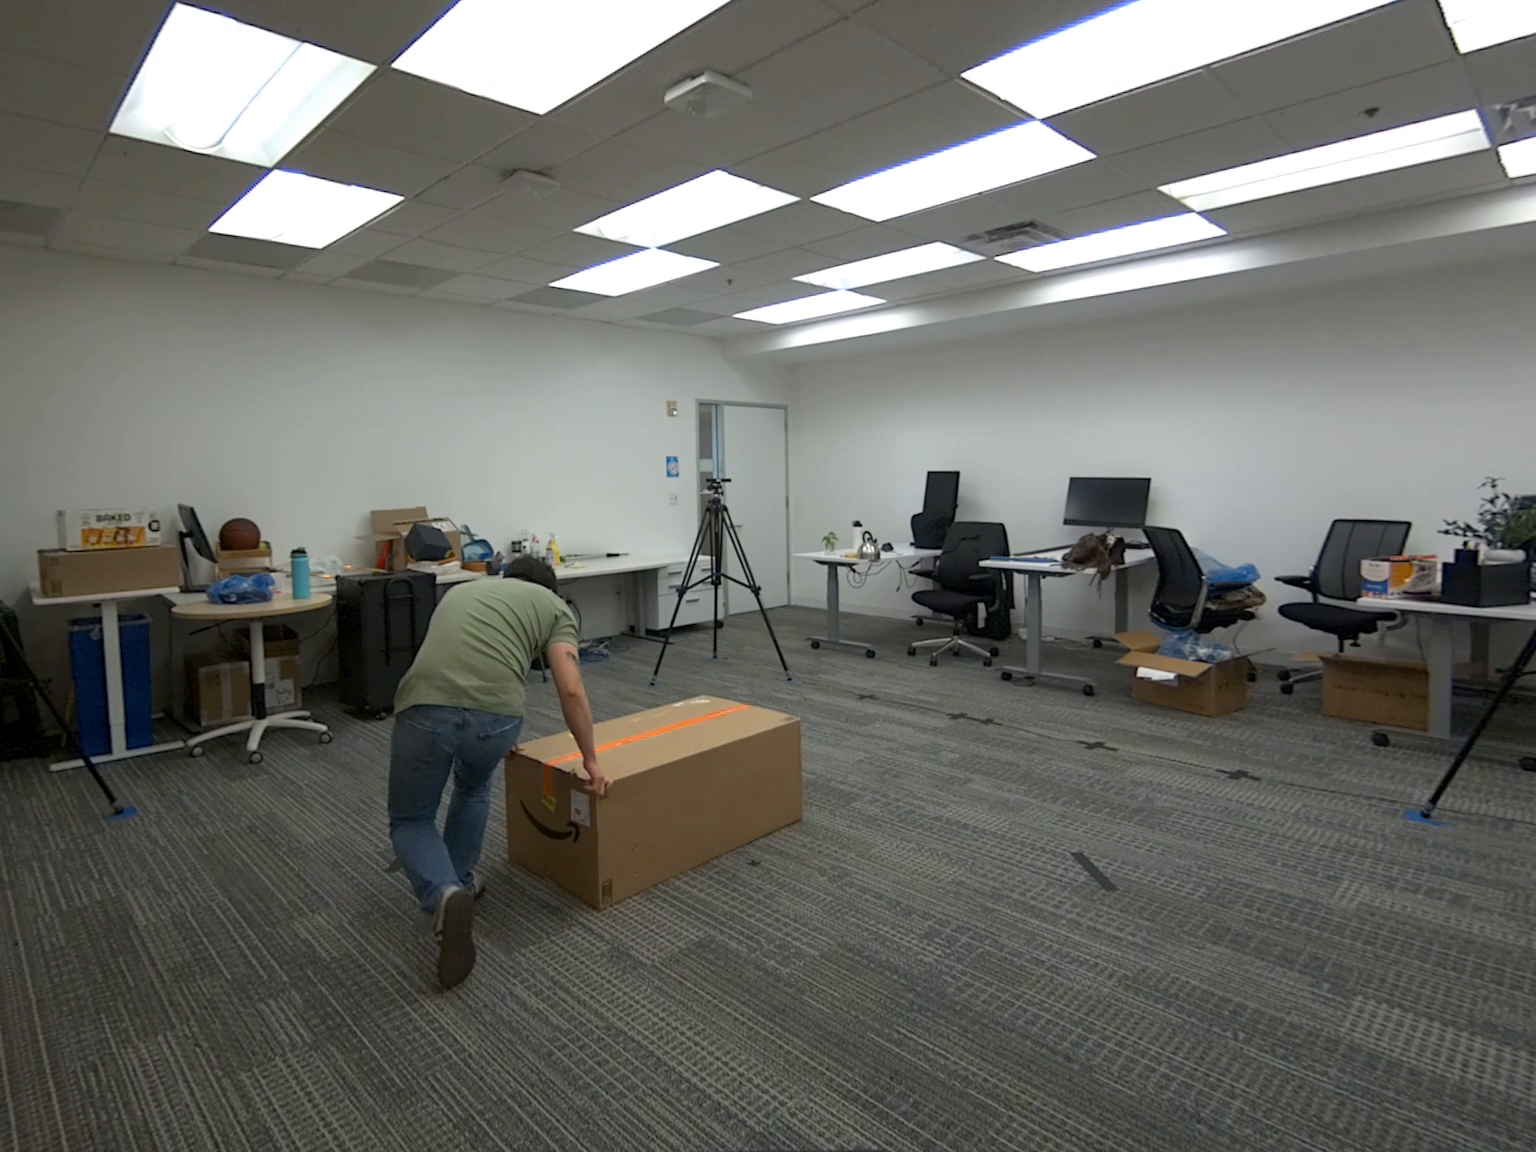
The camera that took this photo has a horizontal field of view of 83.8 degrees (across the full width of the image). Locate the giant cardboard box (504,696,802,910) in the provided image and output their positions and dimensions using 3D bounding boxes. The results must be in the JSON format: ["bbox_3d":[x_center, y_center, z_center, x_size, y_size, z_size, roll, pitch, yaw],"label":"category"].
[{"bbox_3d":[-0.415,0.814,3.323,0.595,0.424,0.999,3,8,43],"label":"giant cardboard box"}]
